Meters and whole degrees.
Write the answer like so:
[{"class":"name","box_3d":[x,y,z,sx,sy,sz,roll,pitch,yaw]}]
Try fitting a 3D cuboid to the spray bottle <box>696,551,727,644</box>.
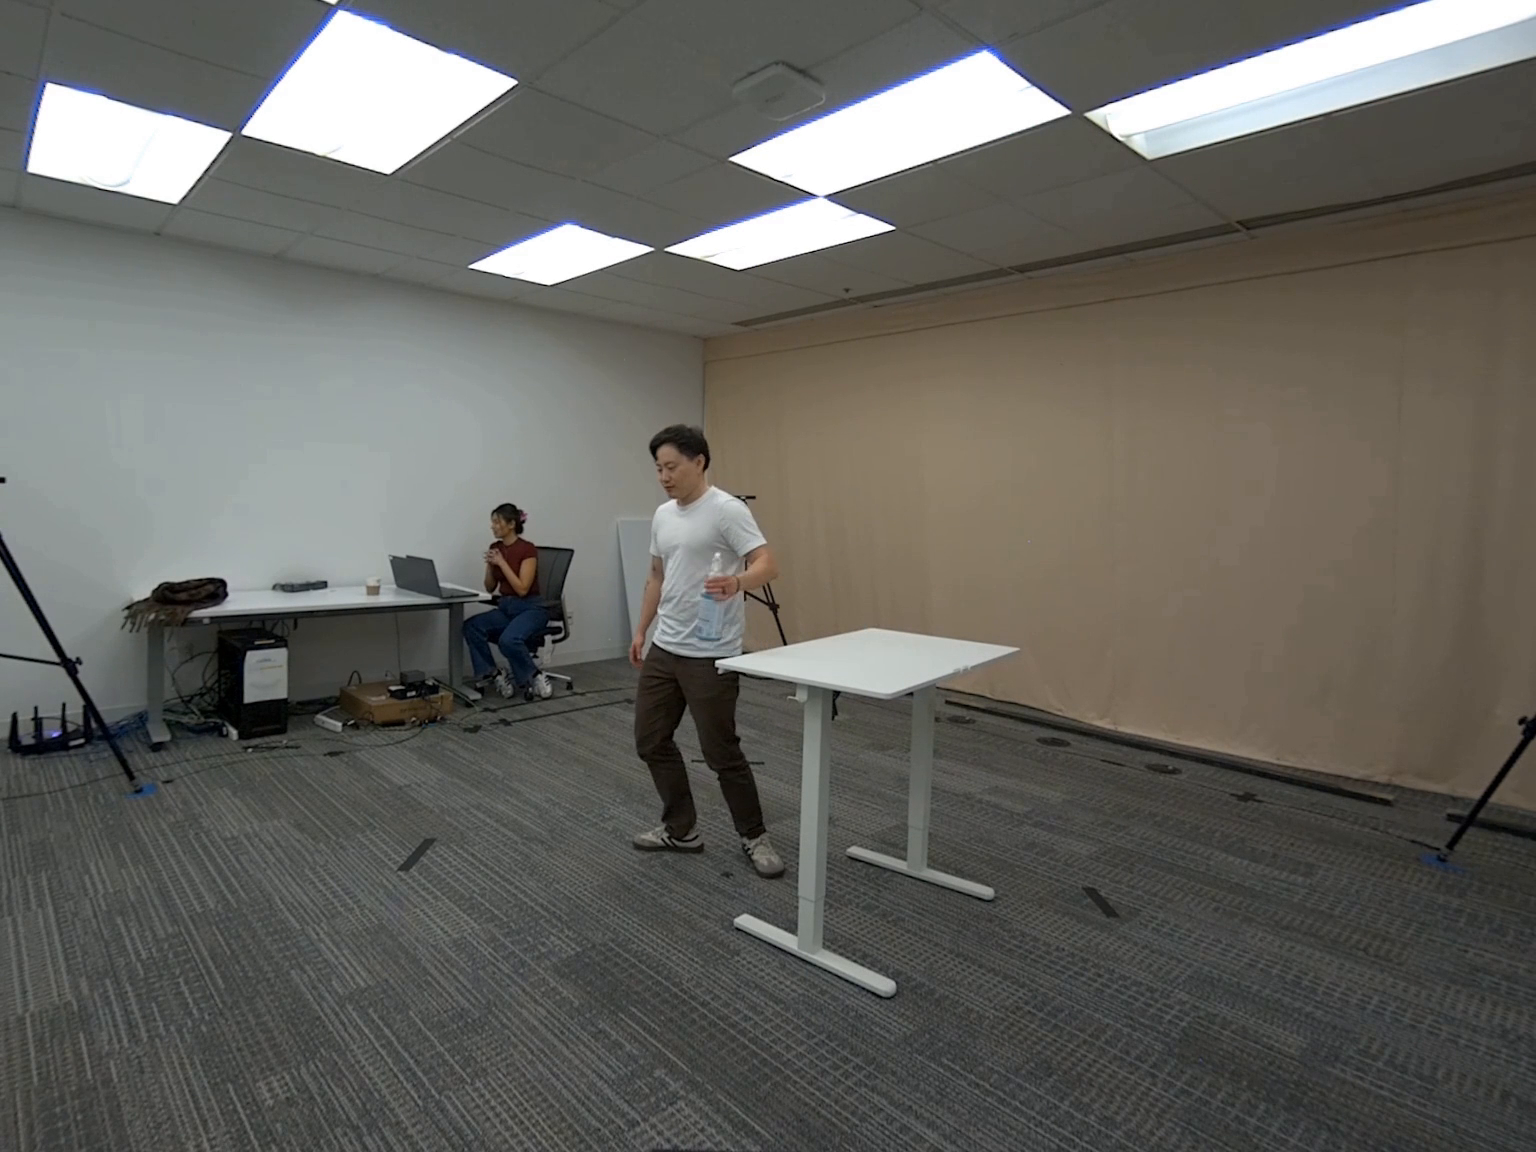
[{"class":"spray bottle","box_3d":[-0.182,0.076,2.805,0.089,0.296,0.088,9,9,27]}]
